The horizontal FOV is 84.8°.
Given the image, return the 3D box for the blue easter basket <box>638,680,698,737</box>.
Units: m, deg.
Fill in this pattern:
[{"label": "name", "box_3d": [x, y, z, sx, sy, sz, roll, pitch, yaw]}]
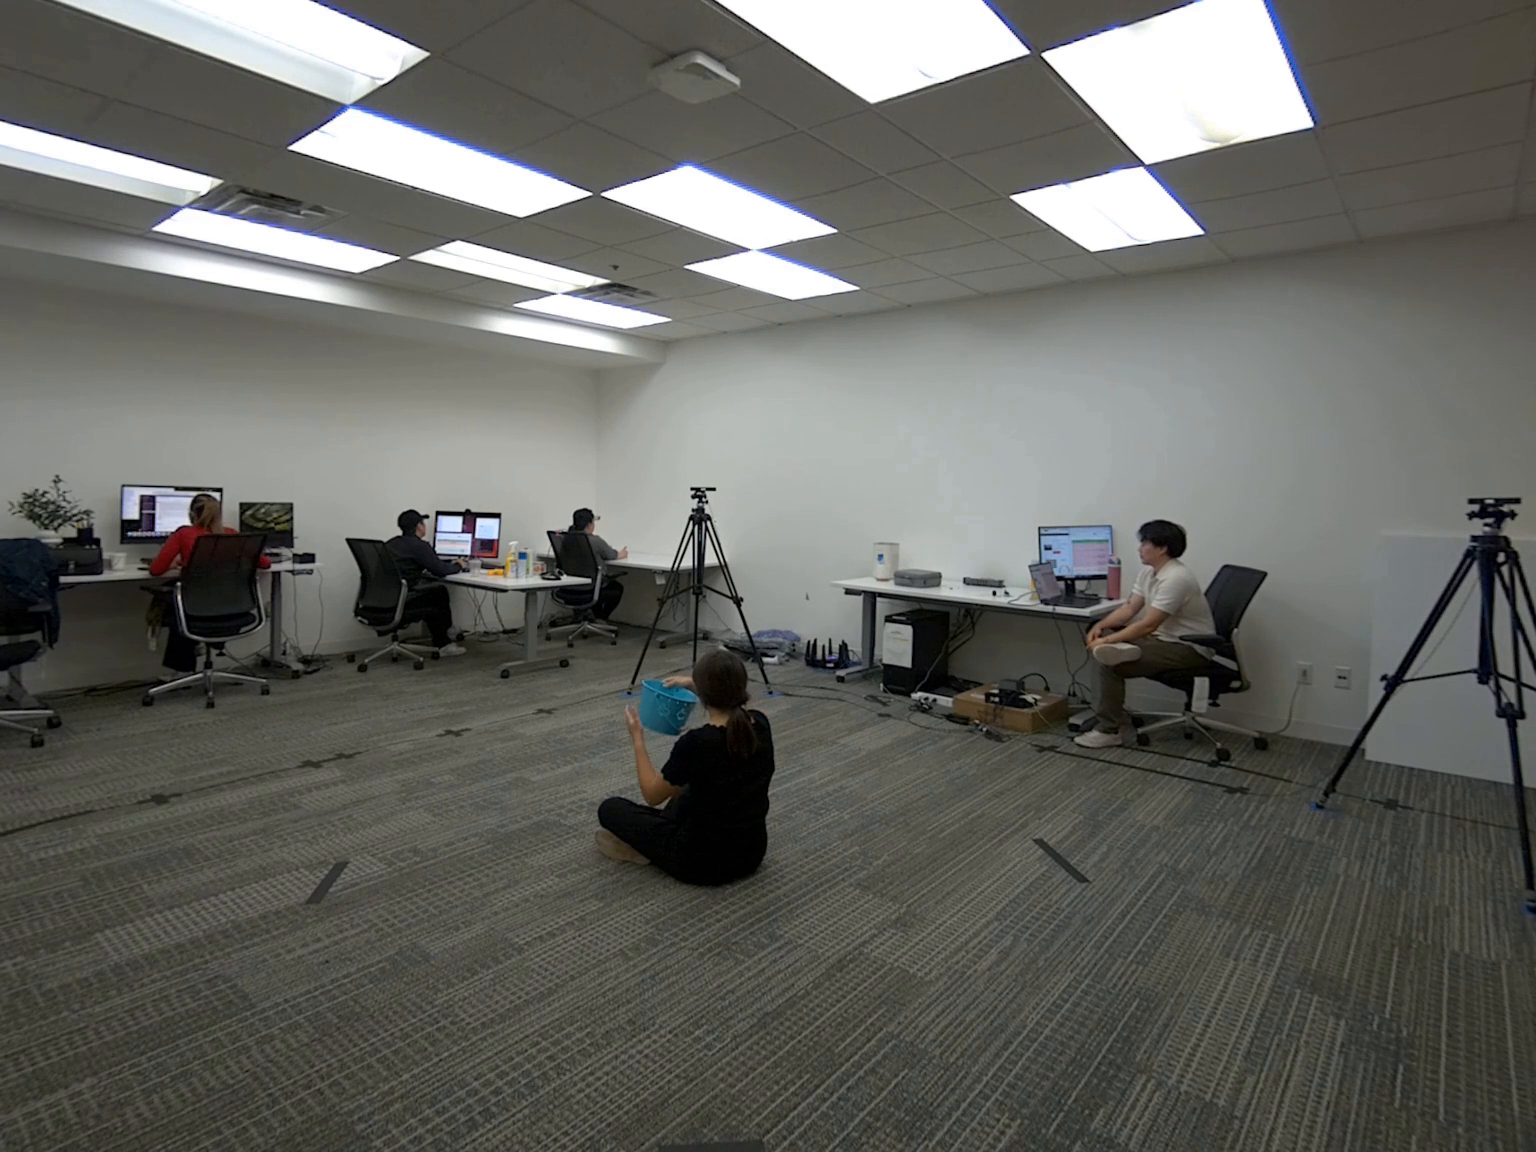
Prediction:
[{"label": "blue easter basket", "box_3d": [-0.397, 0.520, 3.335, 0.243, 0.155, 0.244, 16, 3, -3]}]
